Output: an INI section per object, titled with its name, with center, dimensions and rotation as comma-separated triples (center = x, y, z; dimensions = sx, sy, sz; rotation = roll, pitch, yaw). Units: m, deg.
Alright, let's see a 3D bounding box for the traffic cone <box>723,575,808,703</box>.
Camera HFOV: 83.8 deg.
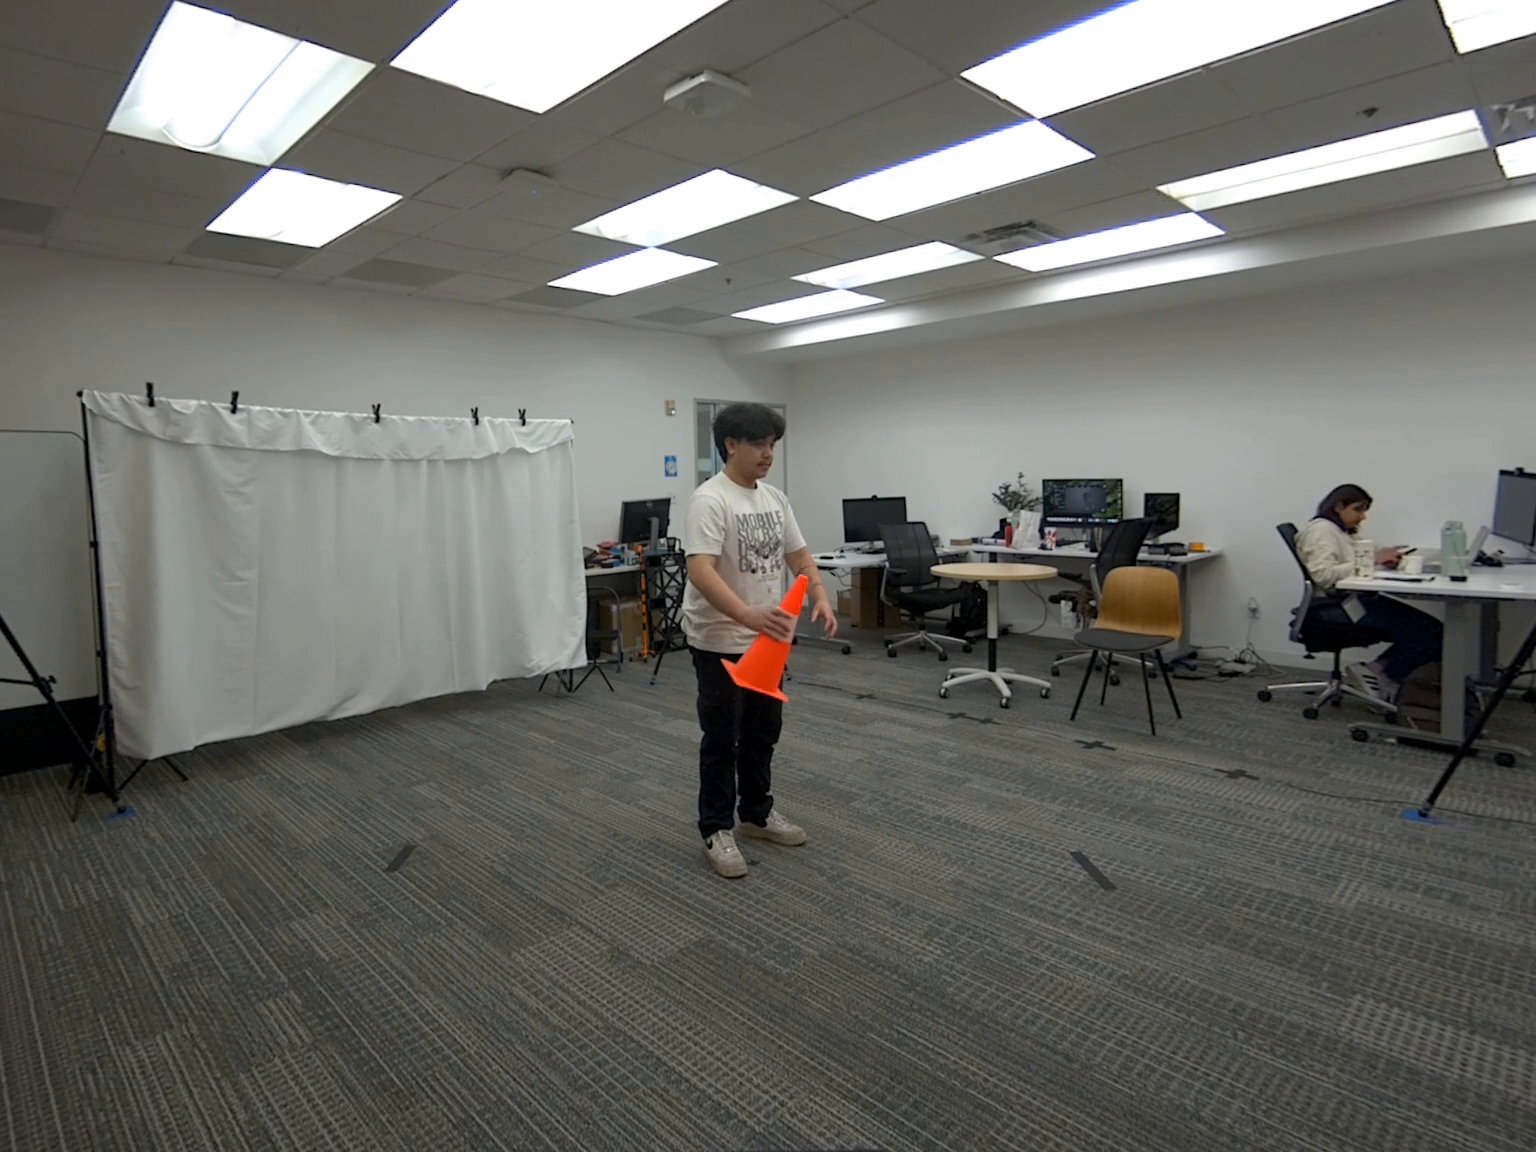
[traffic cone]
center = 0.027, 0.175, 2.765
dimensions = 0.200, 0.382, 0.209
rotation = 20, 7, -22
